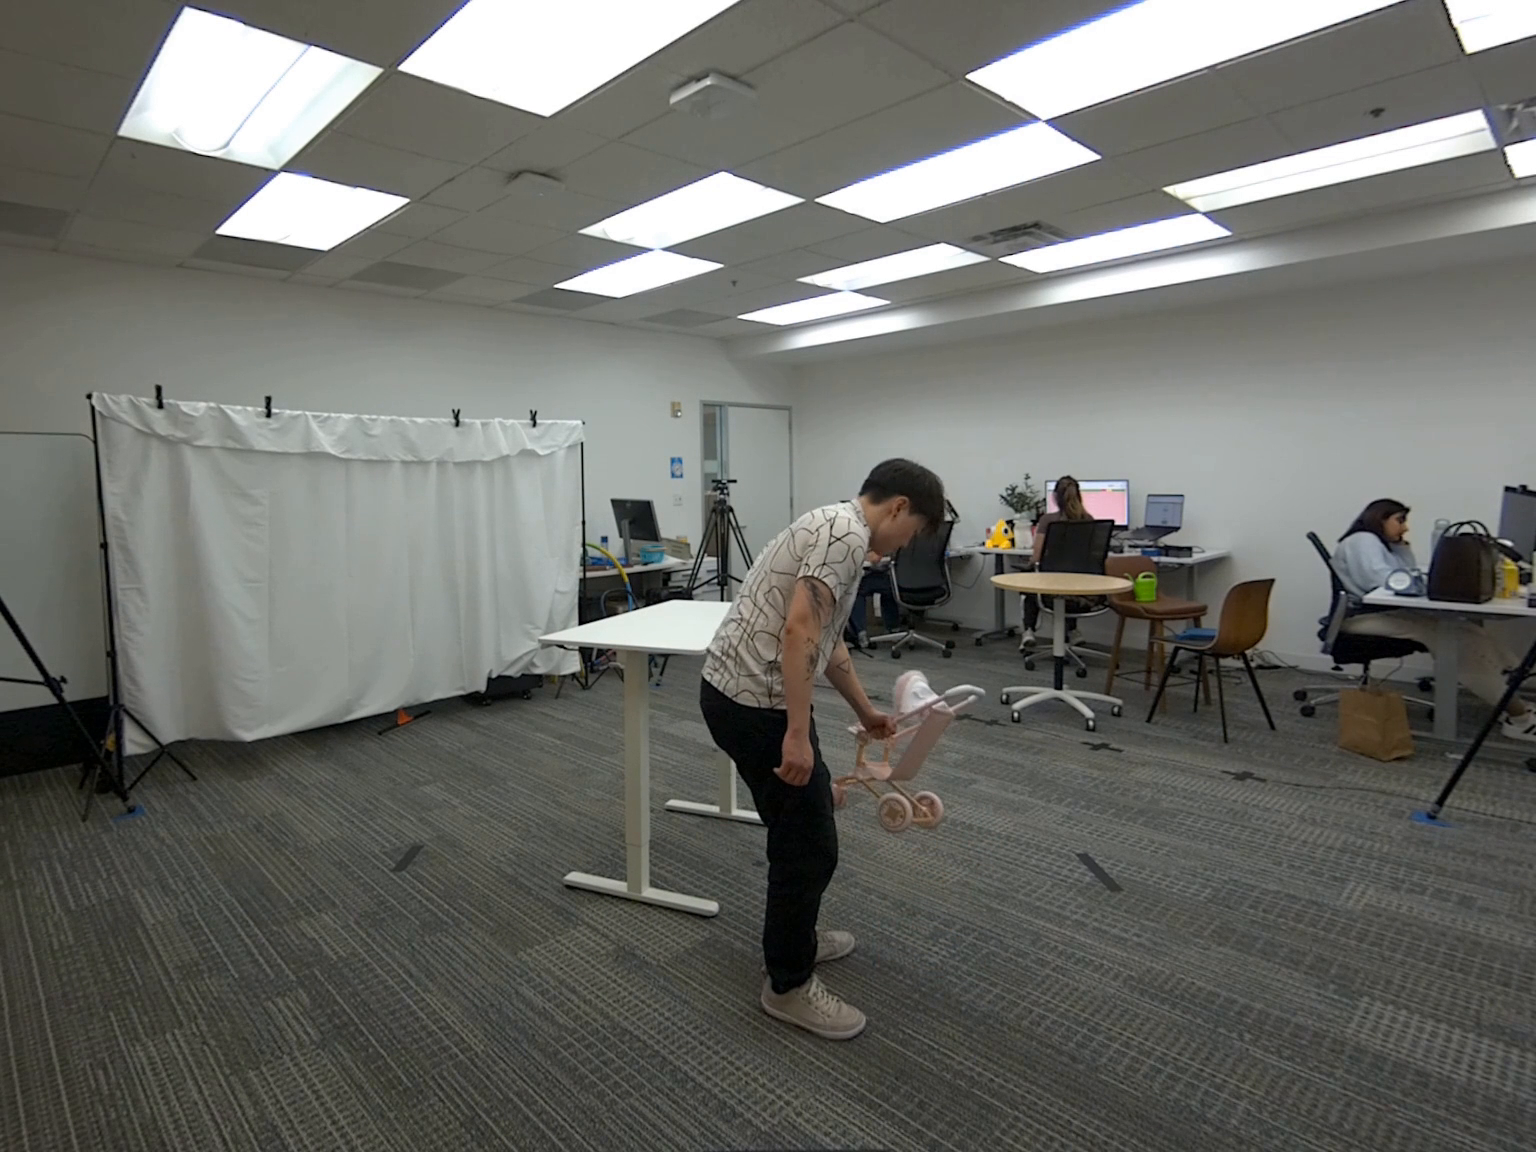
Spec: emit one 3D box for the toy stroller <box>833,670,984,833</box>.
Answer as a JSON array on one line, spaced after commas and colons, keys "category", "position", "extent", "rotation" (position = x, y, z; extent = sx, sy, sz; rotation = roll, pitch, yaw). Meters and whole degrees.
[{"category": "toy stroller", "position": [0.404, 0.535, 2.621], "extent": [0.354, 0.534, 0.271], "rotation": [21, 2, 40]}]
